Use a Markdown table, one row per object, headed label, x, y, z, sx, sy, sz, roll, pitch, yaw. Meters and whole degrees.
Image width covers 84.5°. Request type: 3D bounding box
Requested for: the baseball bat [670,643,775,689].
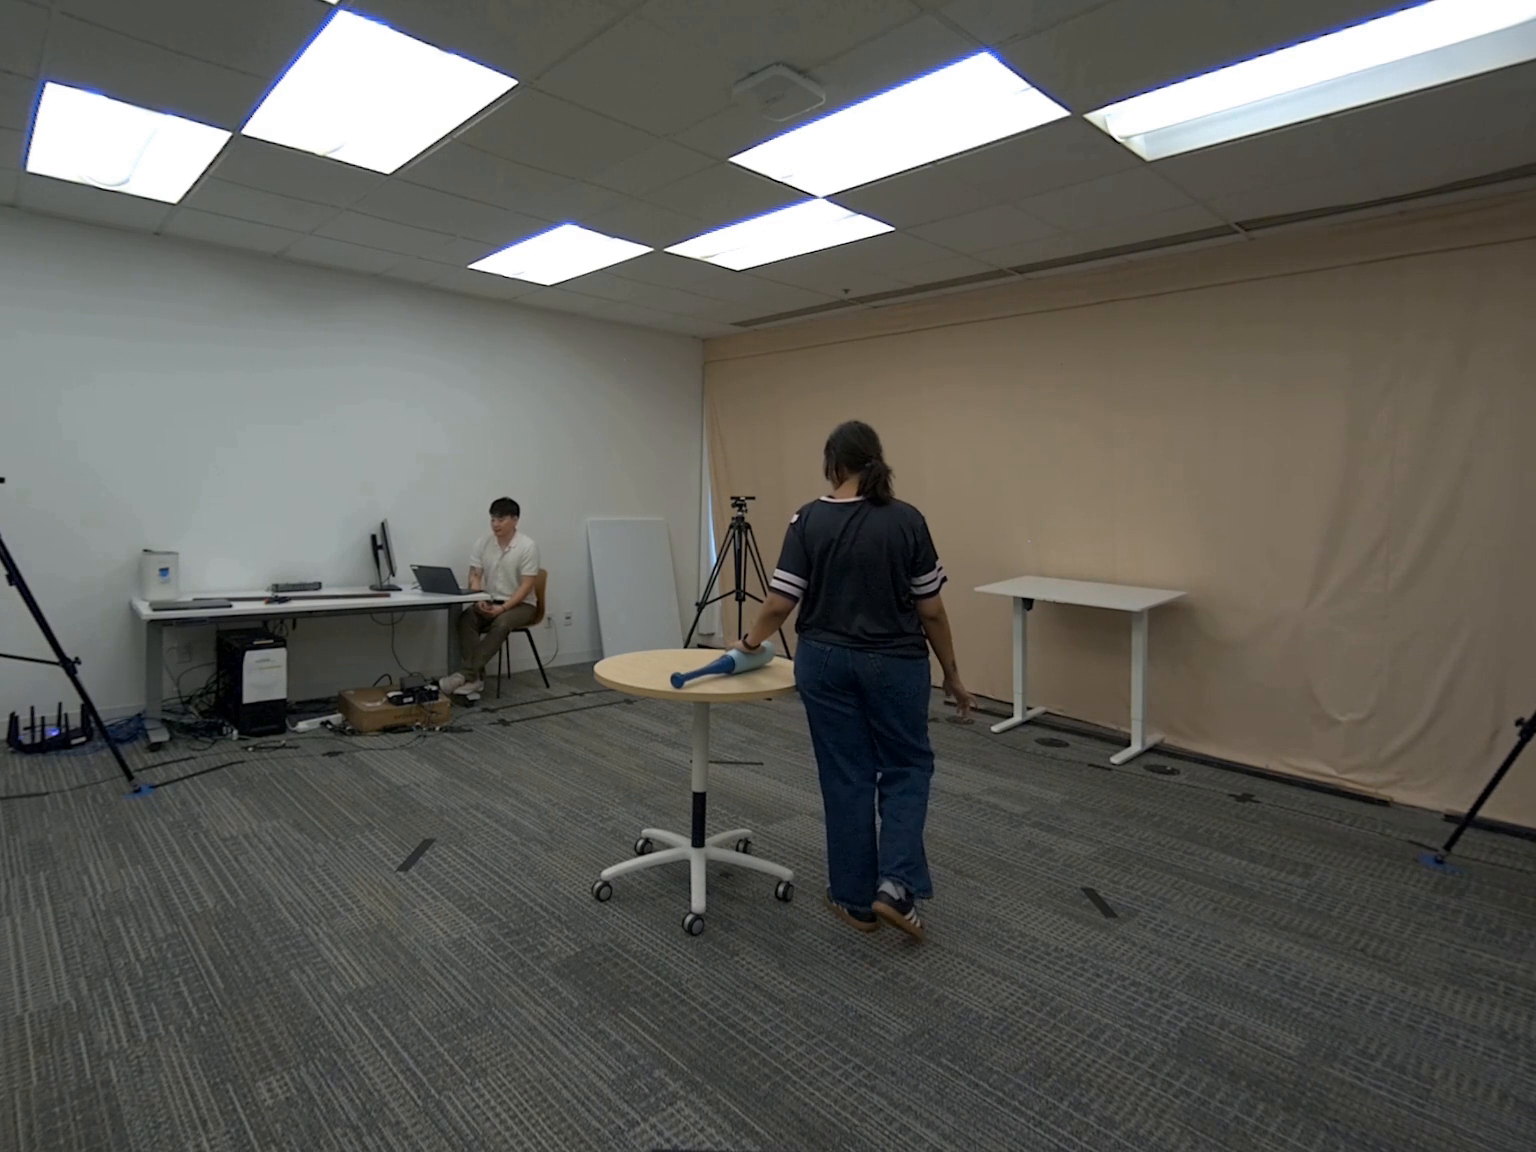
| label | x | y | z | sx | sy | sz | roll | pitch | yaw |
| --- | --- | --- | --- | --- | --- | --- | --- | --- | --- |
| baseball bat | -0.147 | 0.310 | 2.856 | 0.091 | 0.088 | 0.533 | 4 | 8 | 31 |
